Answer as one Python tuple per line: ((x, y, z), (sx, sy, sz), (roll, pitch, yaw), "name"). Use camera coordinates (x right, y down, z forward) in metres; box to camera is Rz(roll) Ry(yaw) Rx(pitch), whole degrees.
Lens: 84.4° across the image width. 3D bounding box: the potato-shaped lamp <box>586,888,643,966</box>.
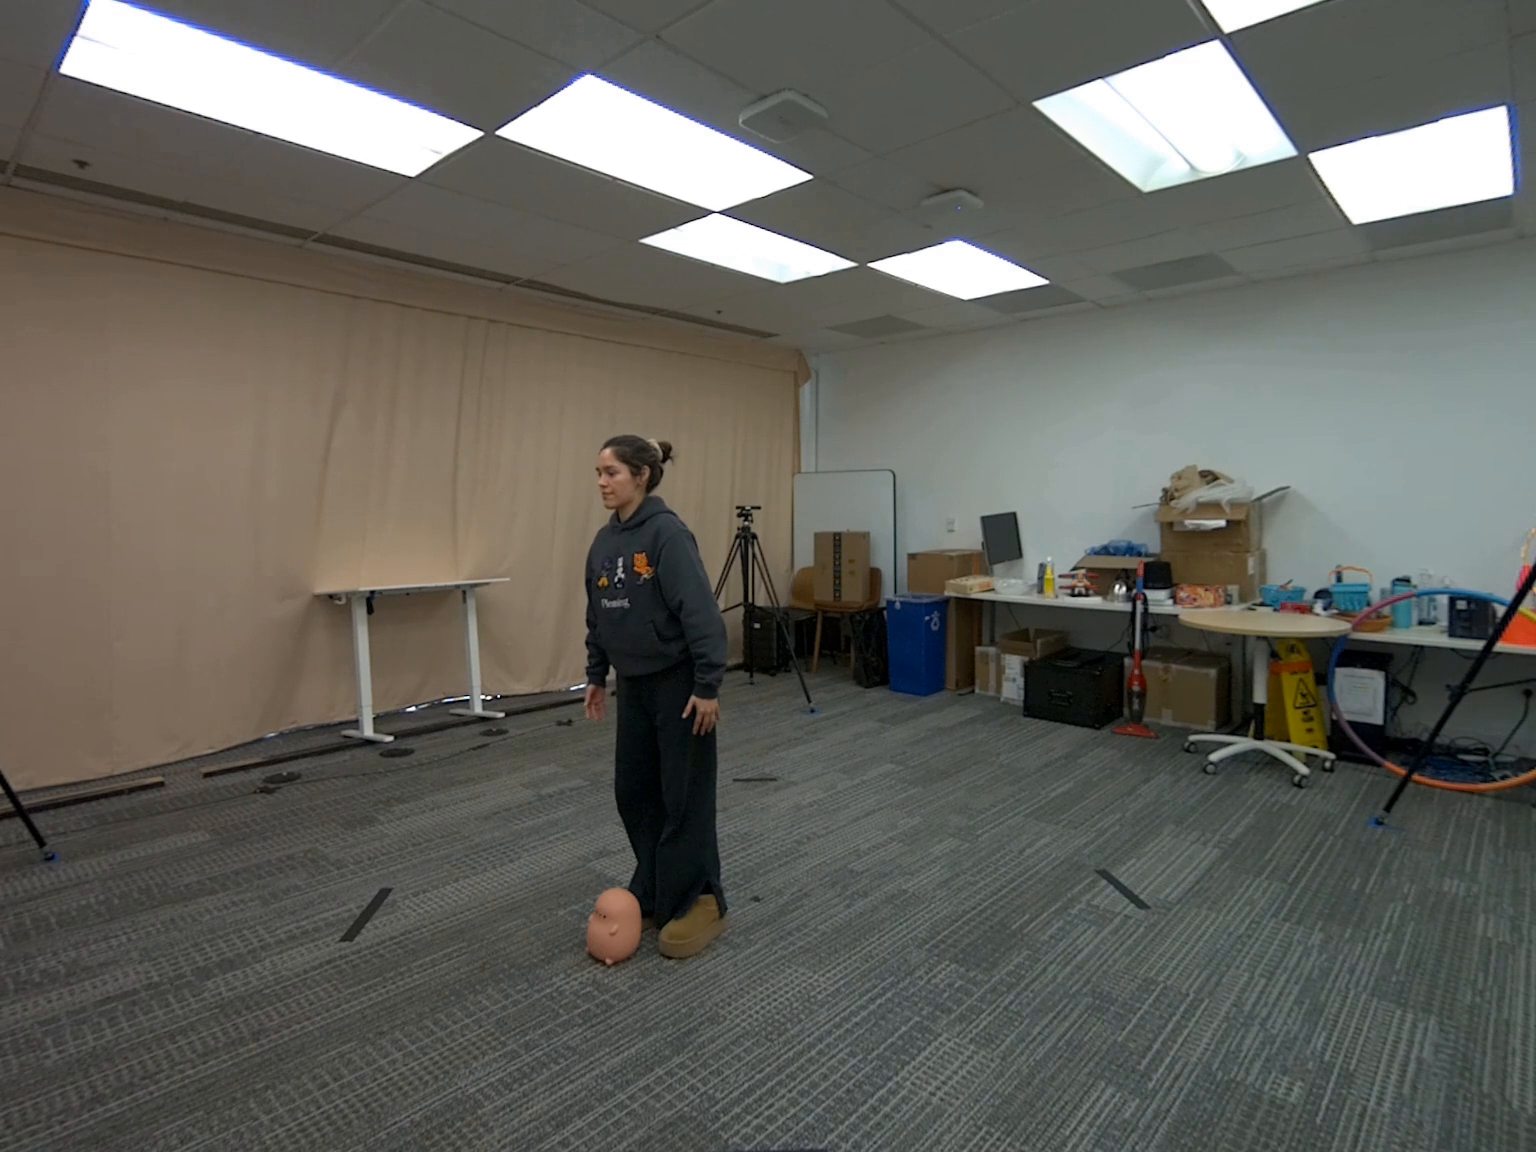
((-0.457, 1.078, 2.628), (0.170, 0.198, 0.166), (3, 4, 43), "potato-shaped lamp")
